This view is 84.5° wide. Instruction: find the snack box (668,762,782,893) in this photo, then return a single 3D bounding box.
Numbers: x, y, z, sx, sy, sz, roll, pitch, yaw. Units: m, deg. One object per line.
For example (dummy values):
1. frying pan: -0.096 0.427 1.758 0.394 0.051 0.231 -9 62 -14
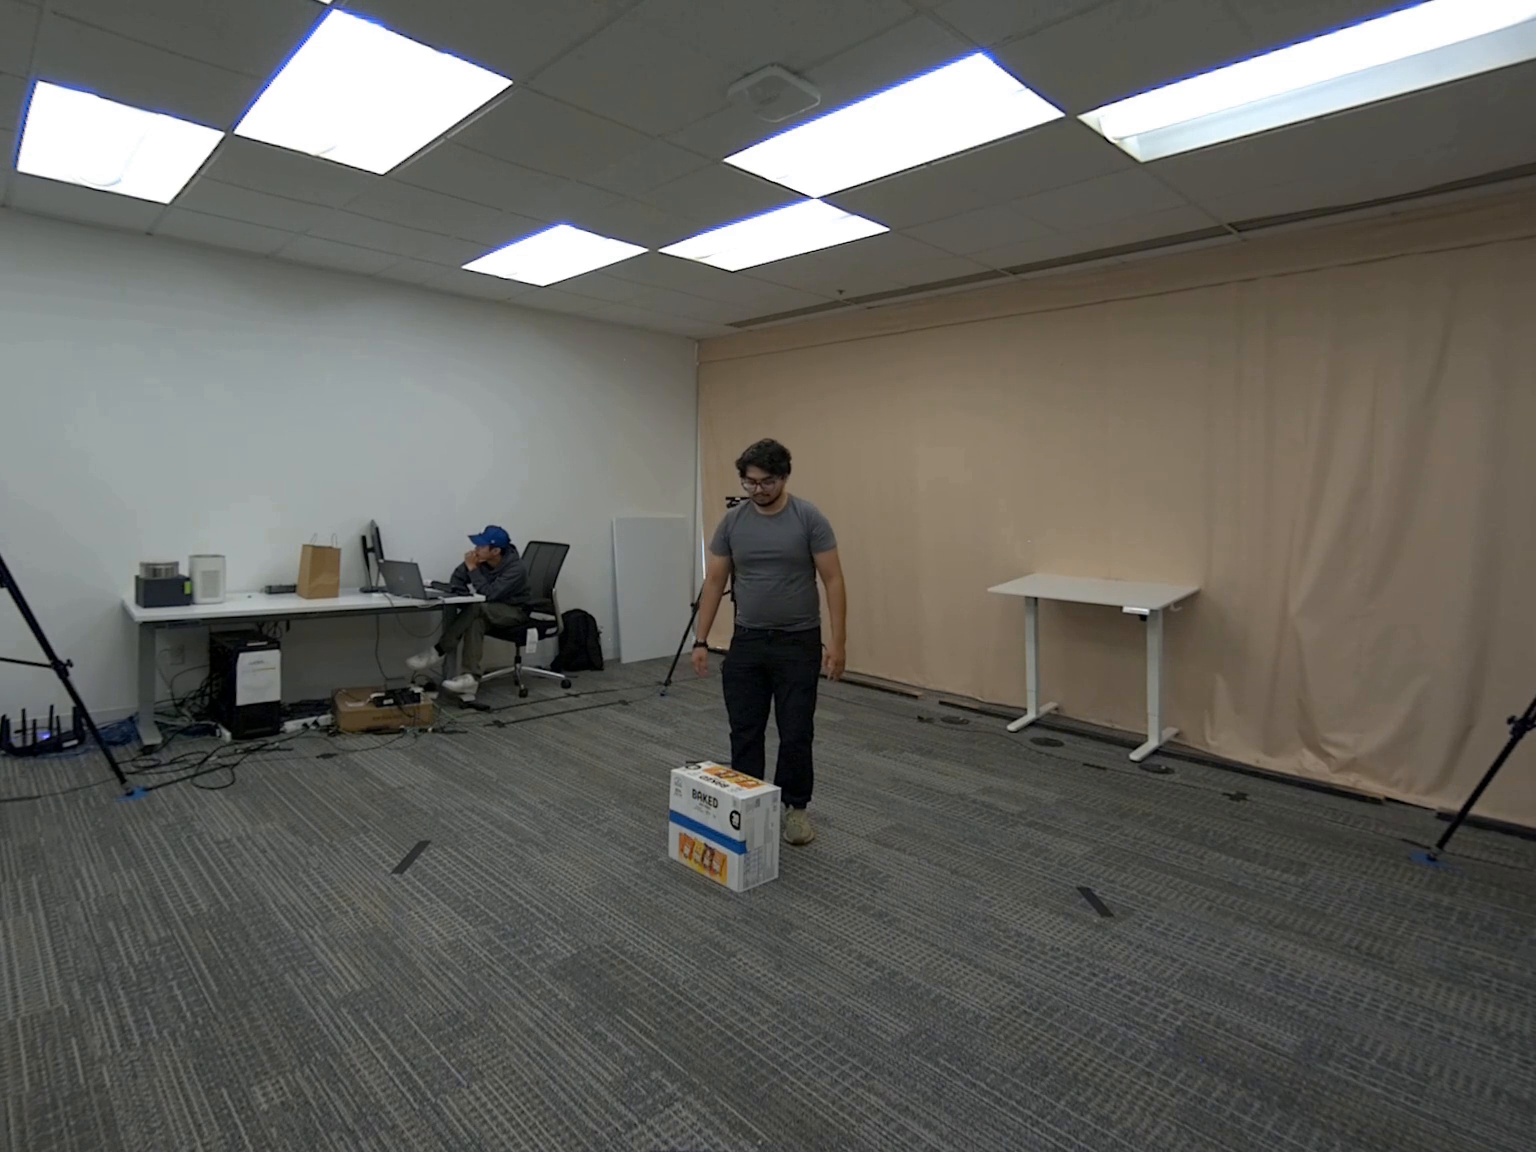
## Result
1. snack box: -0.173 0.929 3.169 0.201 0.339 0.415 -2 5 -44
